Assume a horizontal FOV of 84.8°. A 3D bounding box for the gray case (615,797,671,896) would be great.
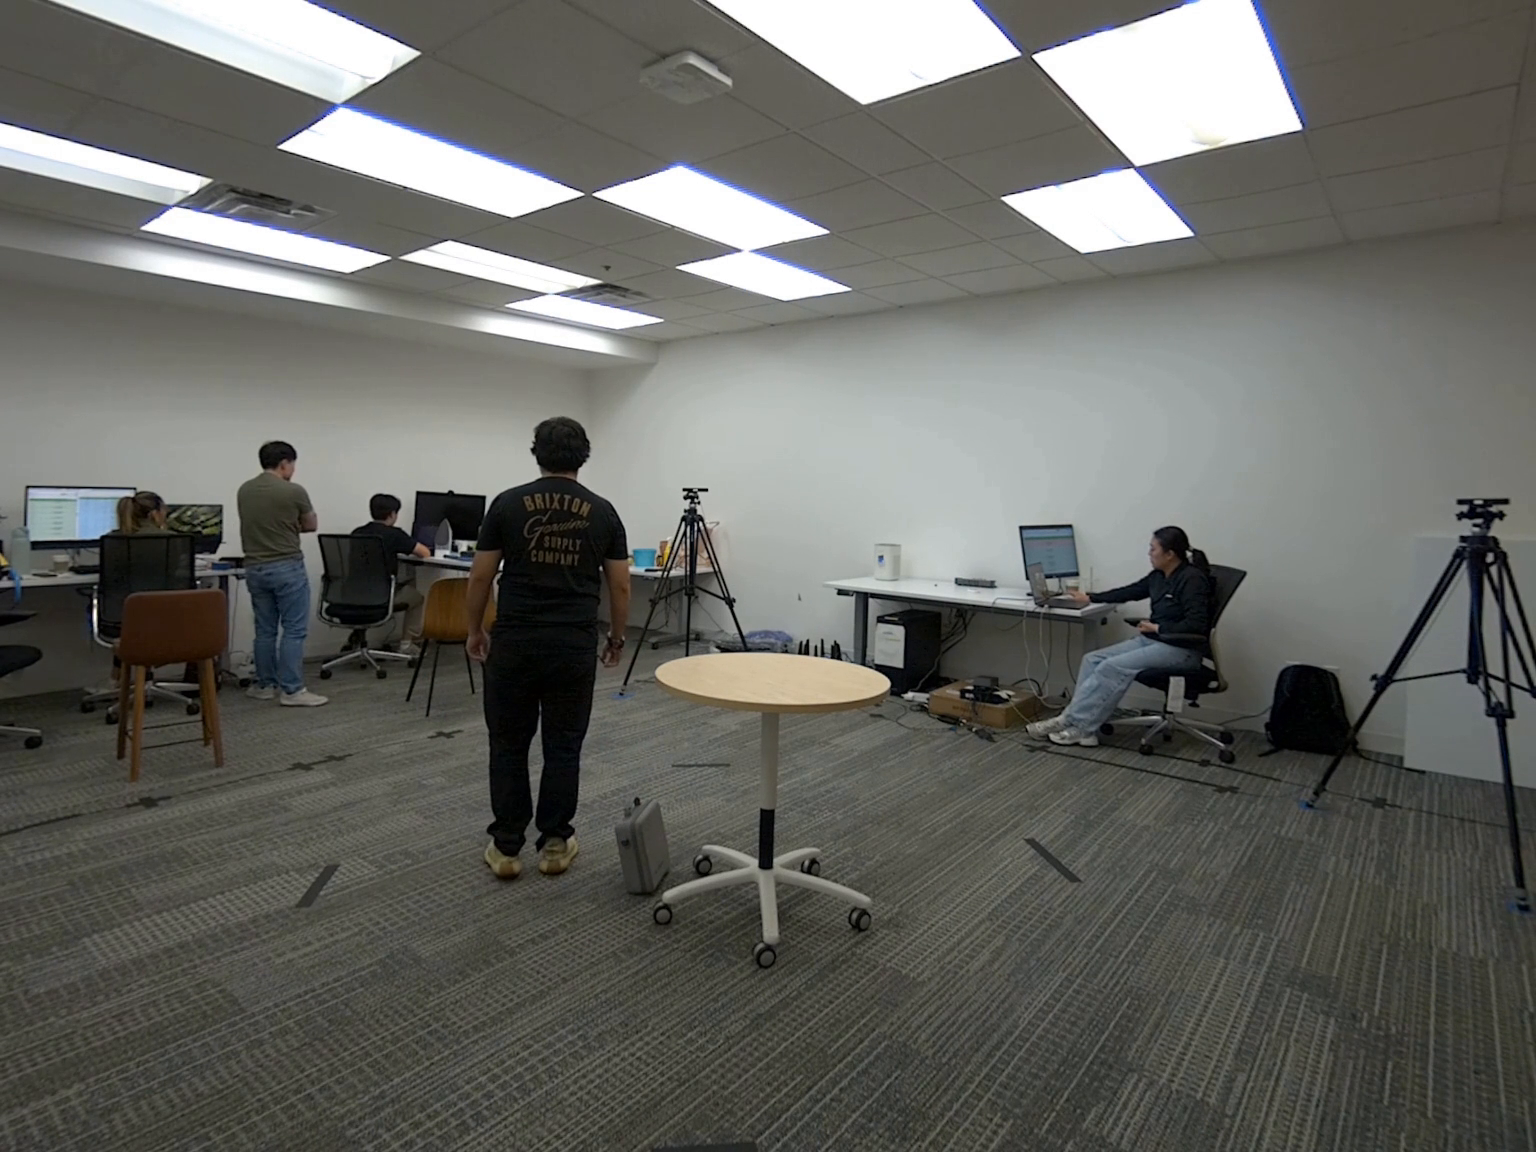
[{"bbox_3d":[-0.449,0.943,2.995,0.105,0.261,0.254,-10,1,10],"label":"gray case"}]
